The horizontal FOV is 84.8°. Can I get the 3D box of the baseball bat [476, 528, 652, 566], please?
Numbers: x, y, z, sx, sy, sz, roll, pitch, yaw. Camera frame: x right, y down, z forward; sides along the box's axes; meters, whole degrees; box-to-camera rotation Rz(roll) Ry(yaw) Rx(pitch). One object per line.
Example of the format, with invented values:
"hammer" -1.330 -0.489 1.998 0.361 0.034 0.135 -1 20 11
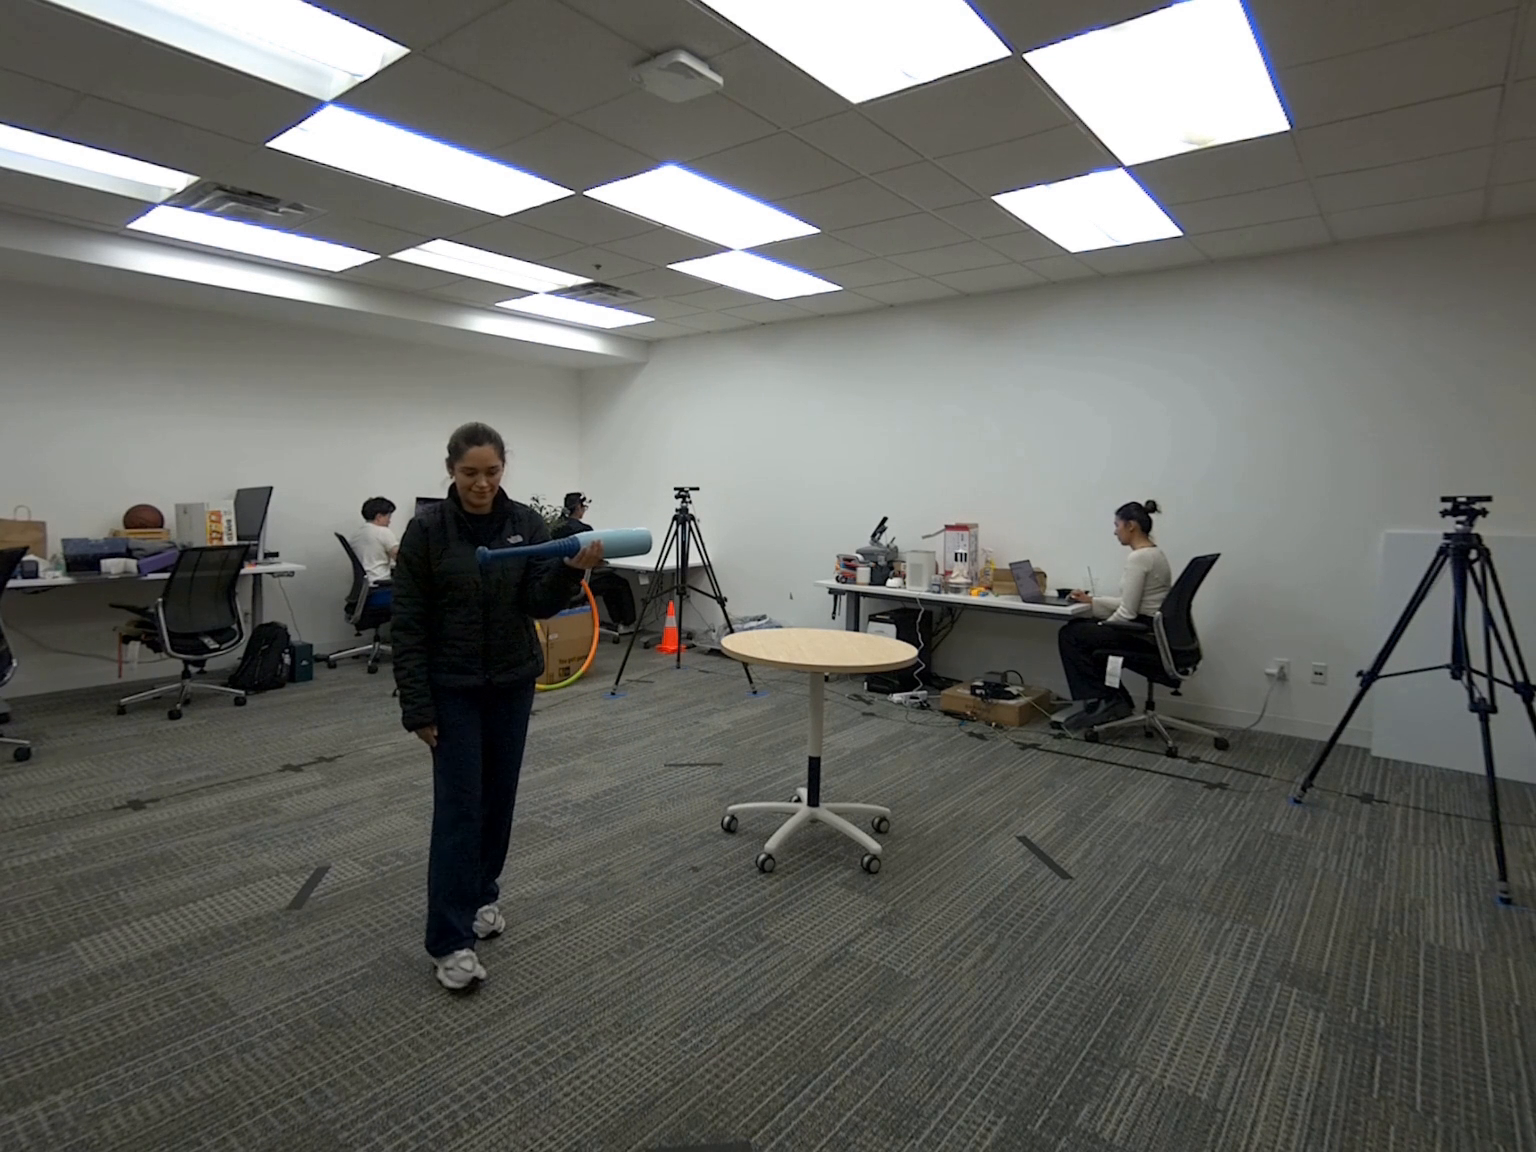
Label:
"baseball bat" -0.572 -0.080 2.441 0.528 0.088 0.092 -8 9 -38
